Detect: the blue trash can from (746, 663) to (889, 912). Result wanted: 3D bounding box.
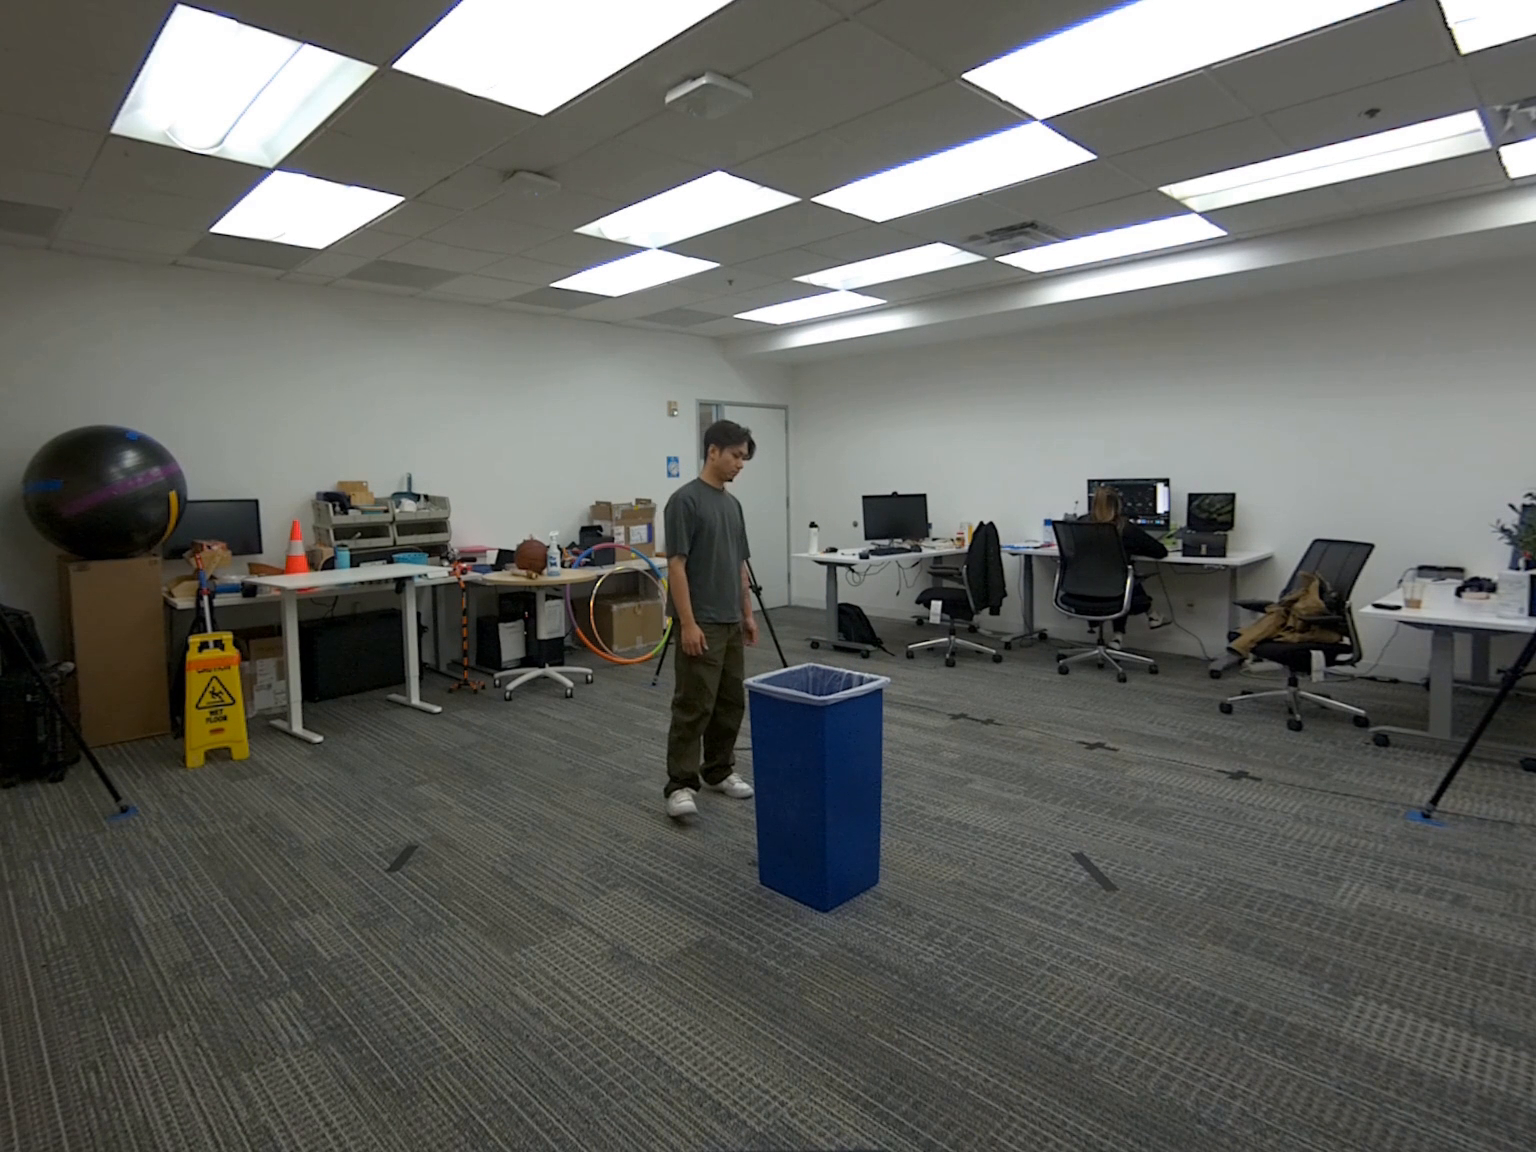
[{"bbox_3d":[0.181,0.705,2.923,0.385,0.711,0.368,2,5,44],"label":"blue trash can"}]
